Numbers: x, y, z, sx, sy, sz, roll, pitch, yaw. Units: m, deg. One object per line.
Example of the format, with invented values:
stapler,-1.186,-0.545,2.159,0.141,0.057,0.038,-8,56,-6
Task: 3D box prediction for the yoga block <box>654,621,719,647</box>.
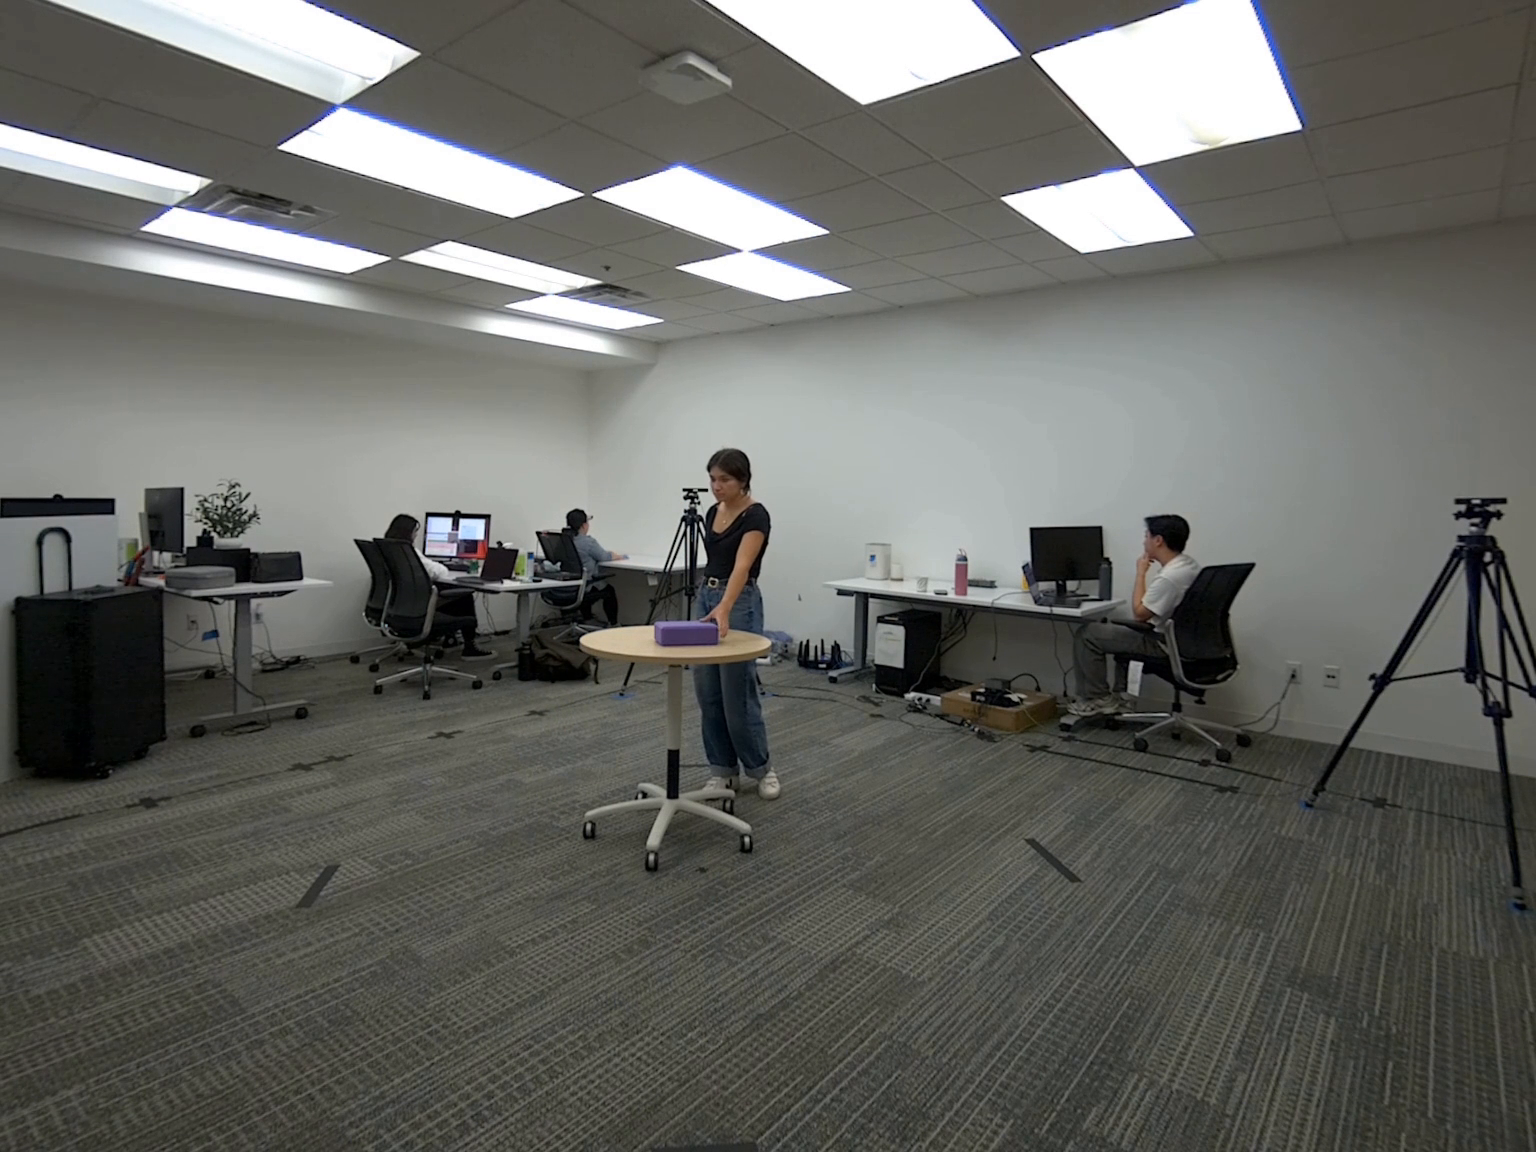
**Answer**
yoga block,-0.320,0.219,3.352,0.225,0.076,0.152,0,5,-16
